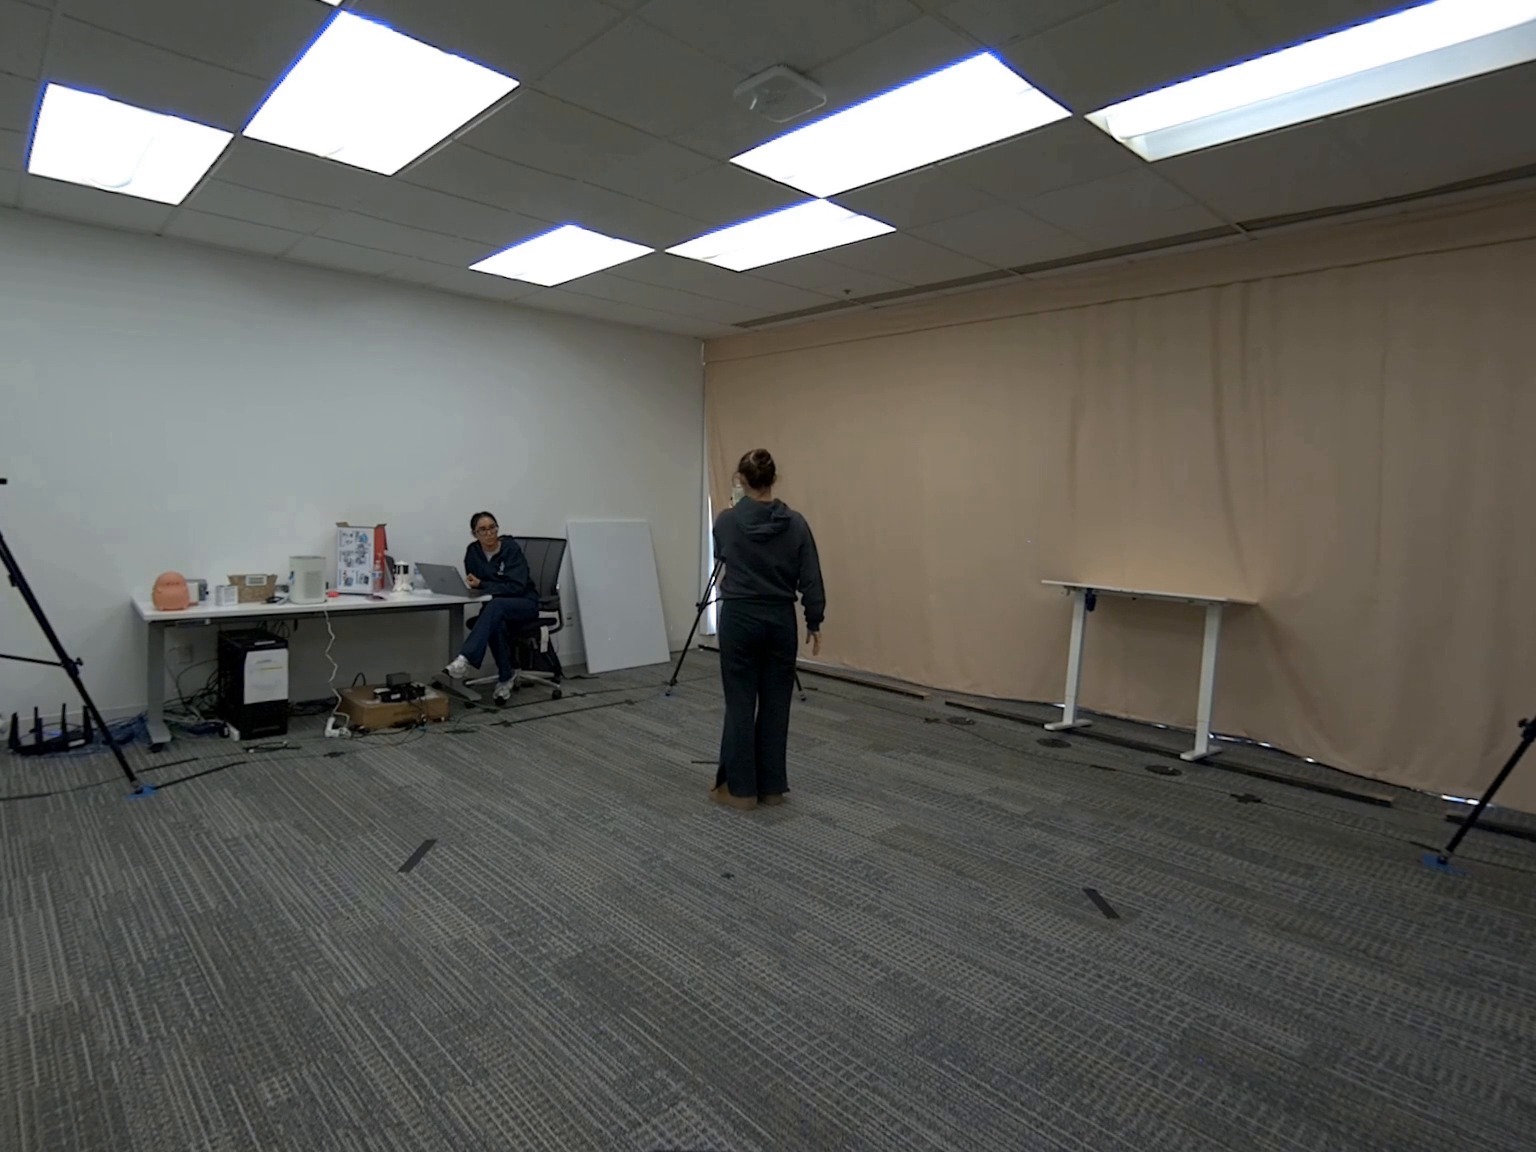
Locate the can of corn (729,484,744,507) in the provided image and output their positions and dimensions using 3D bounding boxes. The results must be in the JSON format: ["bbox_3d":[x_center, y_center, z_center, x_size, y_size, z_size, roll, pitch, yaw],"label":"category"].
[{"bbox_3d":[-0.150,-0.406,4.223,0.074,0.110,0.075,0,12,-1],"label":"can of corn"}]
